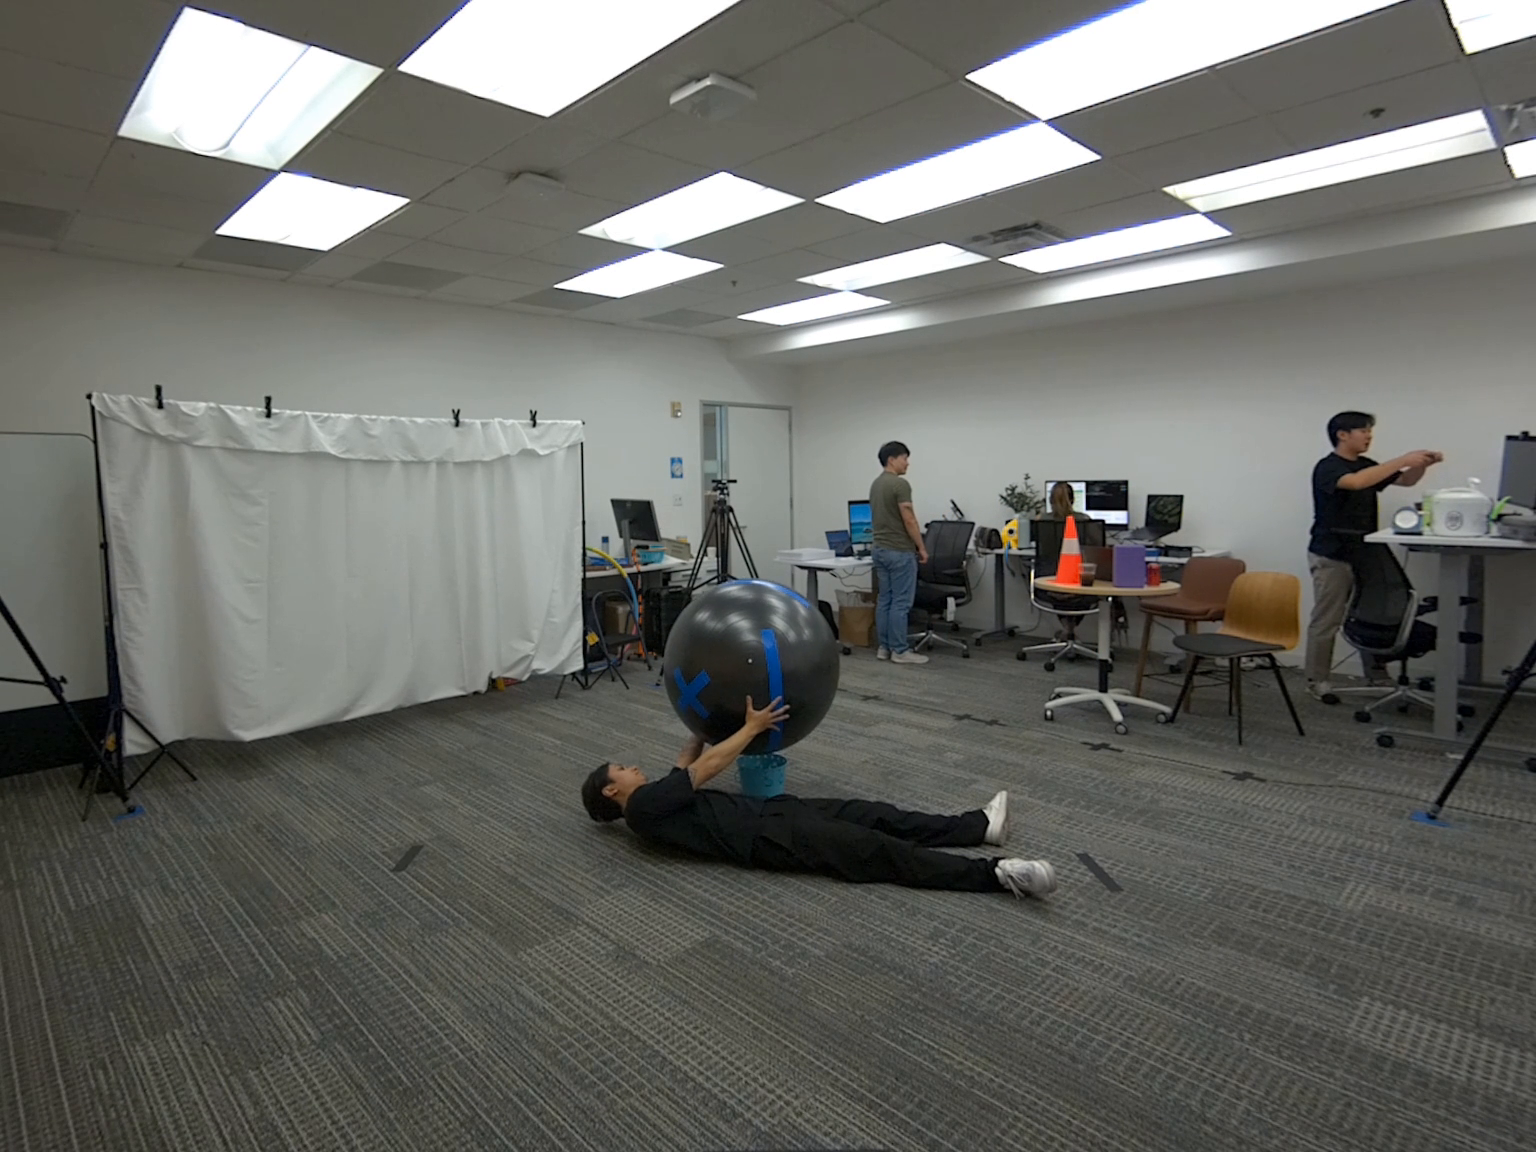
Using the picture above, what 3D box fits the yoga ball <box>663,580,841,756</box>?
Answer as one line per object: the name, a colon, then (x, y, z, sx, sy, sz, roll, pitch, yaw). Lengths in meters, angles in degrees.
yoga ball: (-0.074, 0.392, 3.709, 0.757, 0.755, 0.762, -1, 5, -2)
